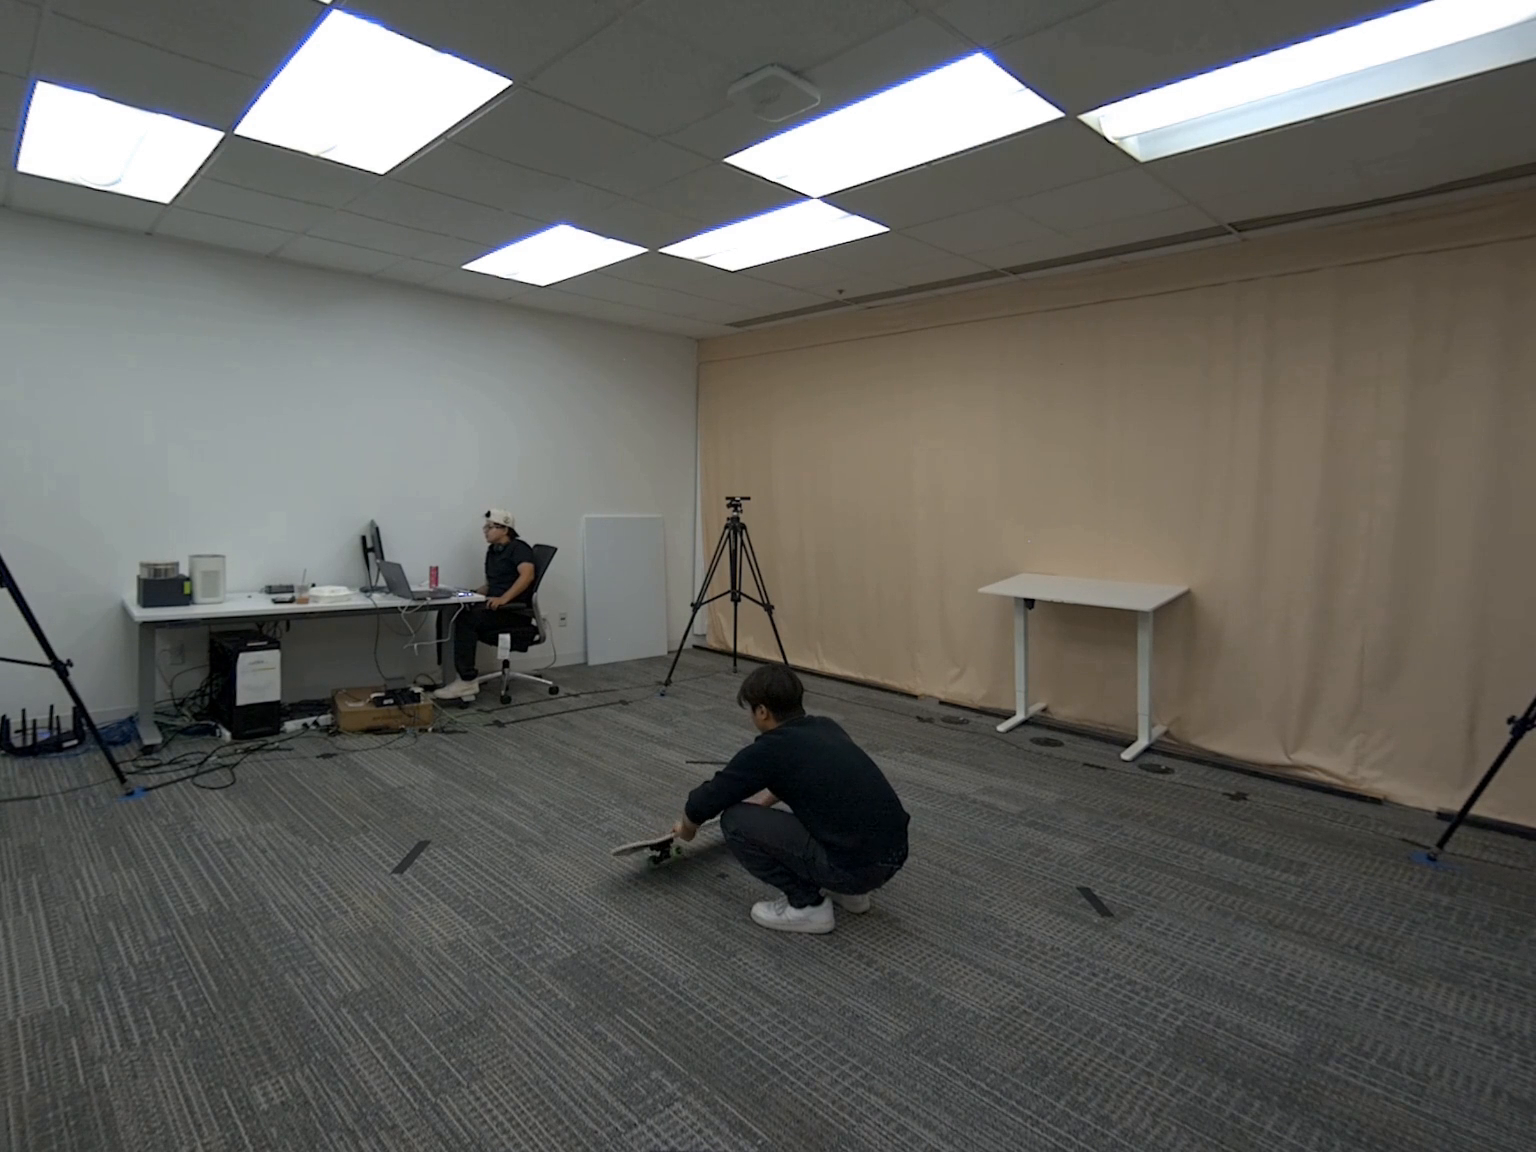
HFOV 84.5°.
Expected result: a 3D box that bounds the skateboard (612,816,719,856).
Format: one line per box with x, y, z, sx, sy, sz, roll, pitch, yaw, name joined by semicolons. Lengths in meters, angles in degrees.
-0.251;0.998;3.241;0.768;0.112;0.194;-4;-25;-44;skateboard
